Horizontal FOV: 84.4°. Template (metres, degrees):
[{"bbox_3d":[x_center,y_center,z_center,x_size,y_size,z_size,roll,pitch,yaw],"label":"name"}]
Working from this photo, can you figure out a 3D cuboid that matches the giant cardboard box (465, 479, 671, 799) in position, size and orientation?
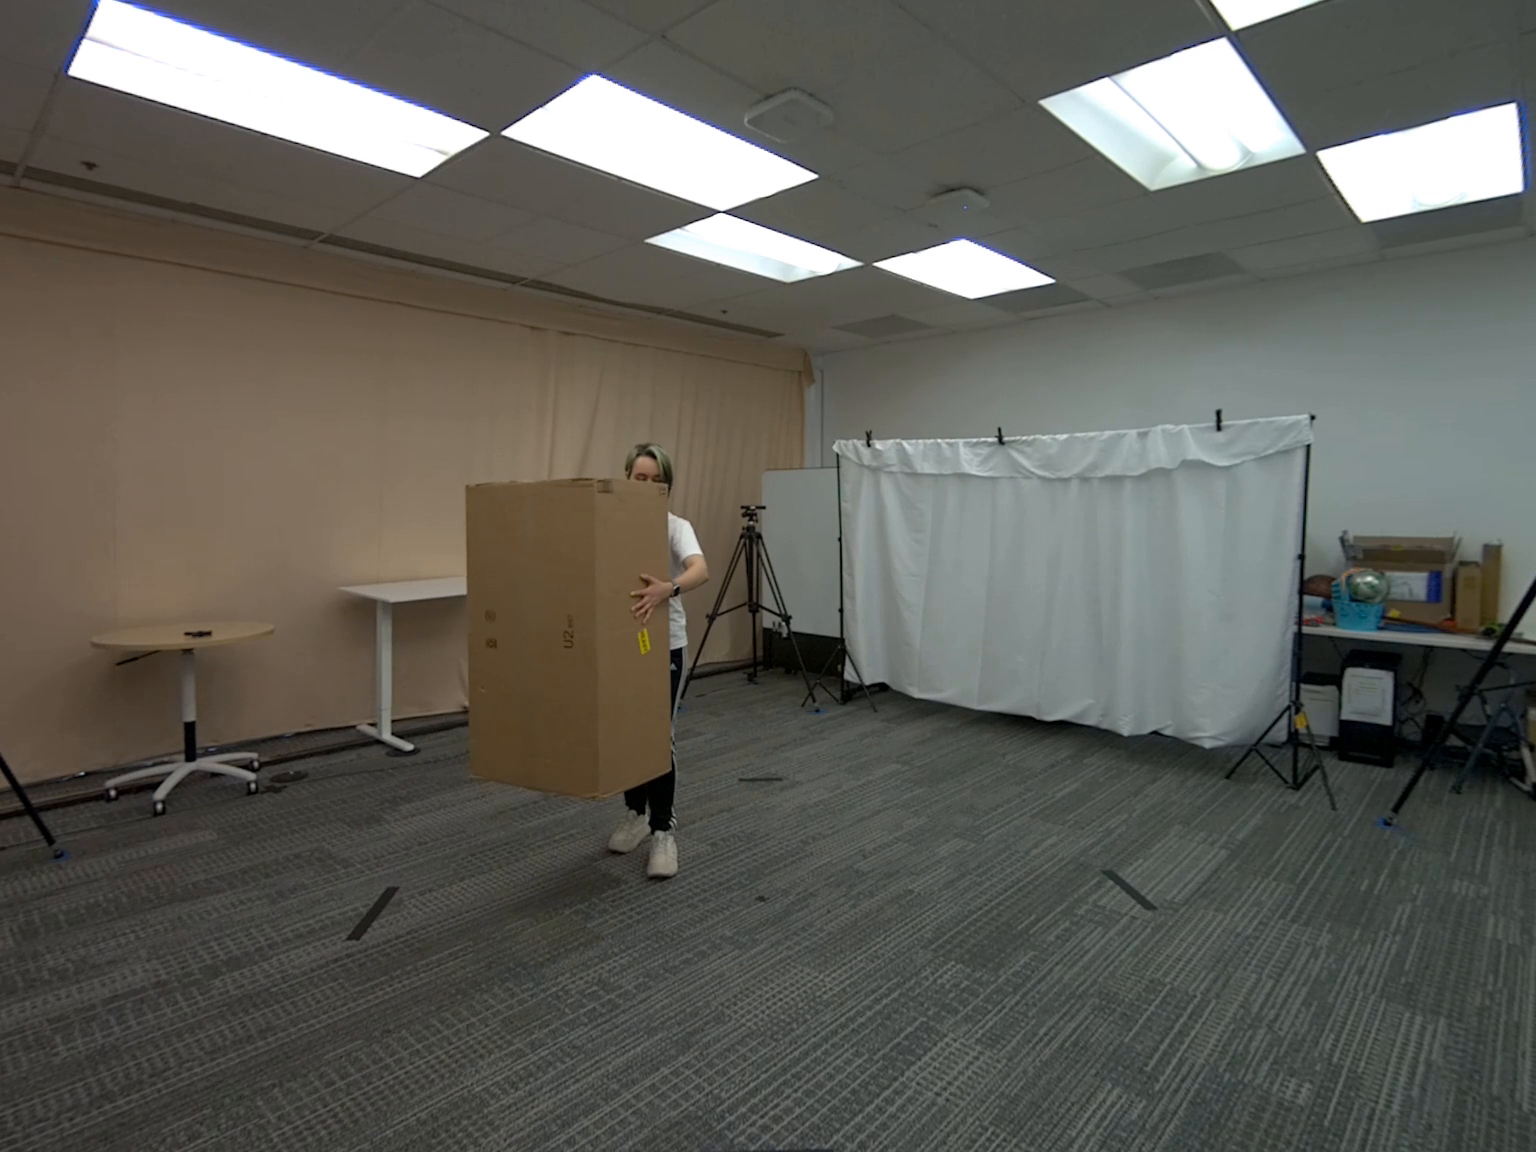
[{"bbox_3d":[-0.697,0.192,2.963,0.593,1.026,0.414,0,0,29],"label":"giant cardboard box"}]
